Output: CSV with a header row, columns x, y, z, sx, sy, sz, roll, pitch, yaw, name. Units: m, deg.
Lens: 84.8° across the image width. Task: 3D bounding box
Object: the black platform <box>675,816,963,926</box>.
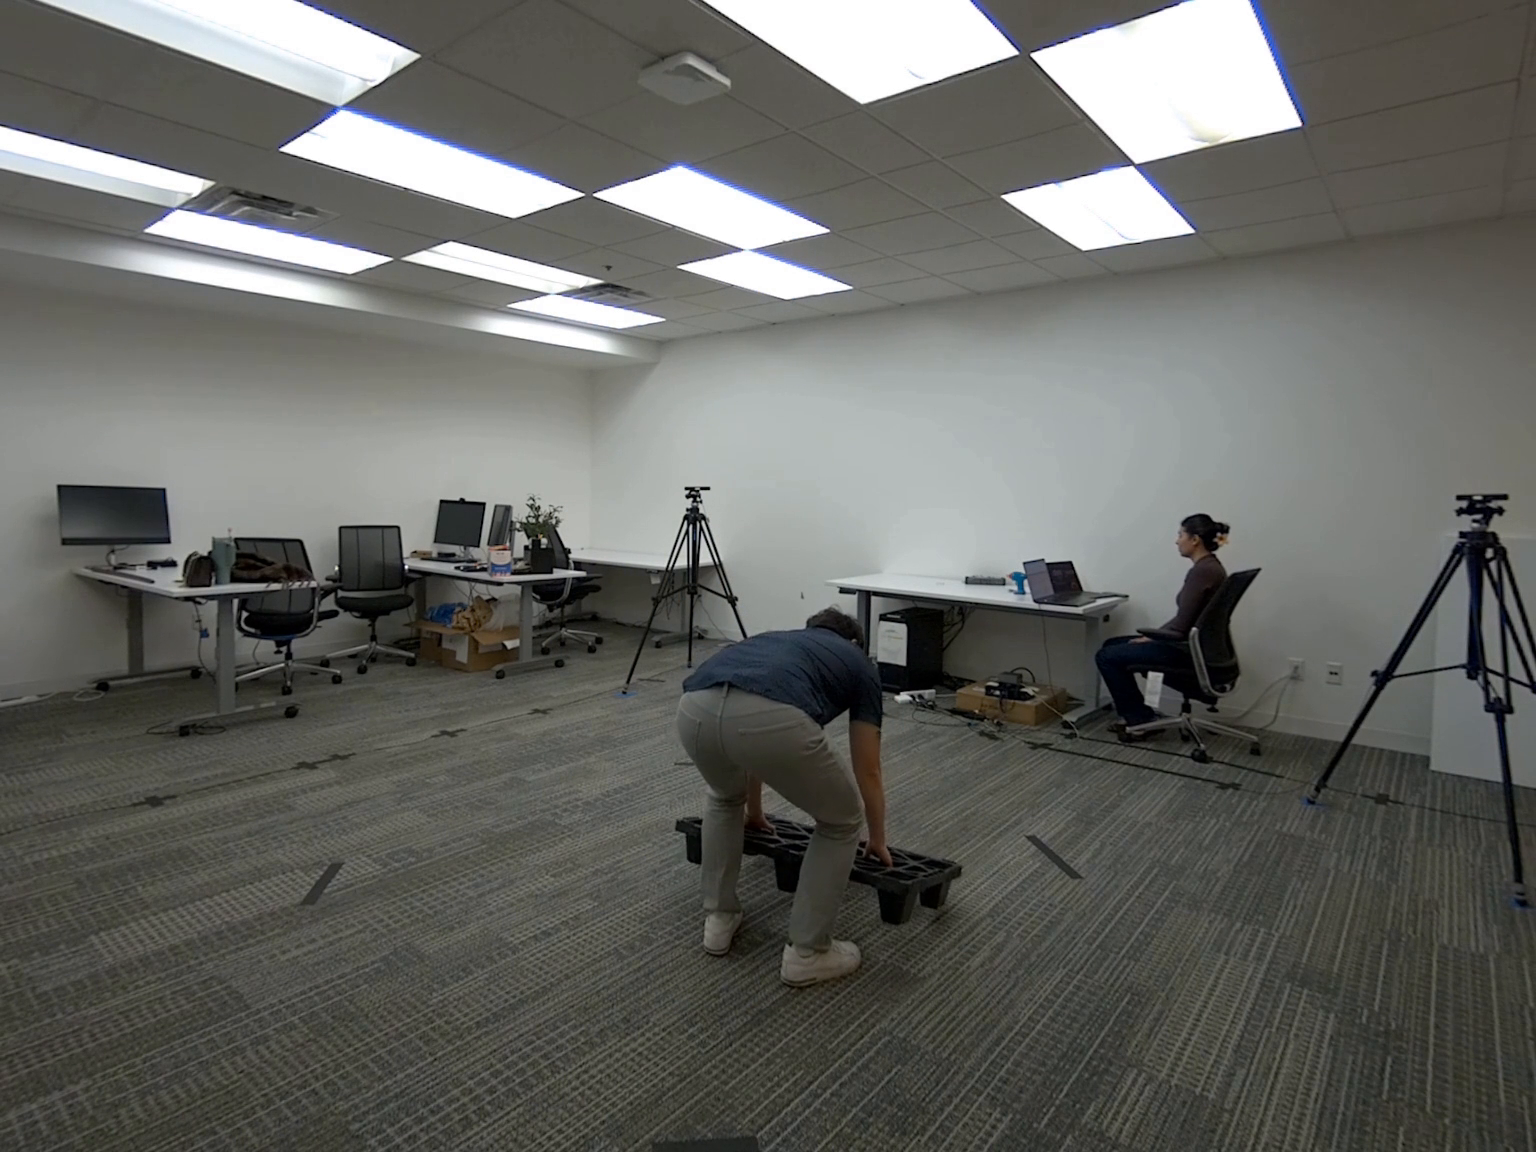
x,y,z,sx,sy,sz,roll,pitch,yaw,name
0.163,0.953,2.826,0.830,0.144,0.583,5,-7,30,black platform
